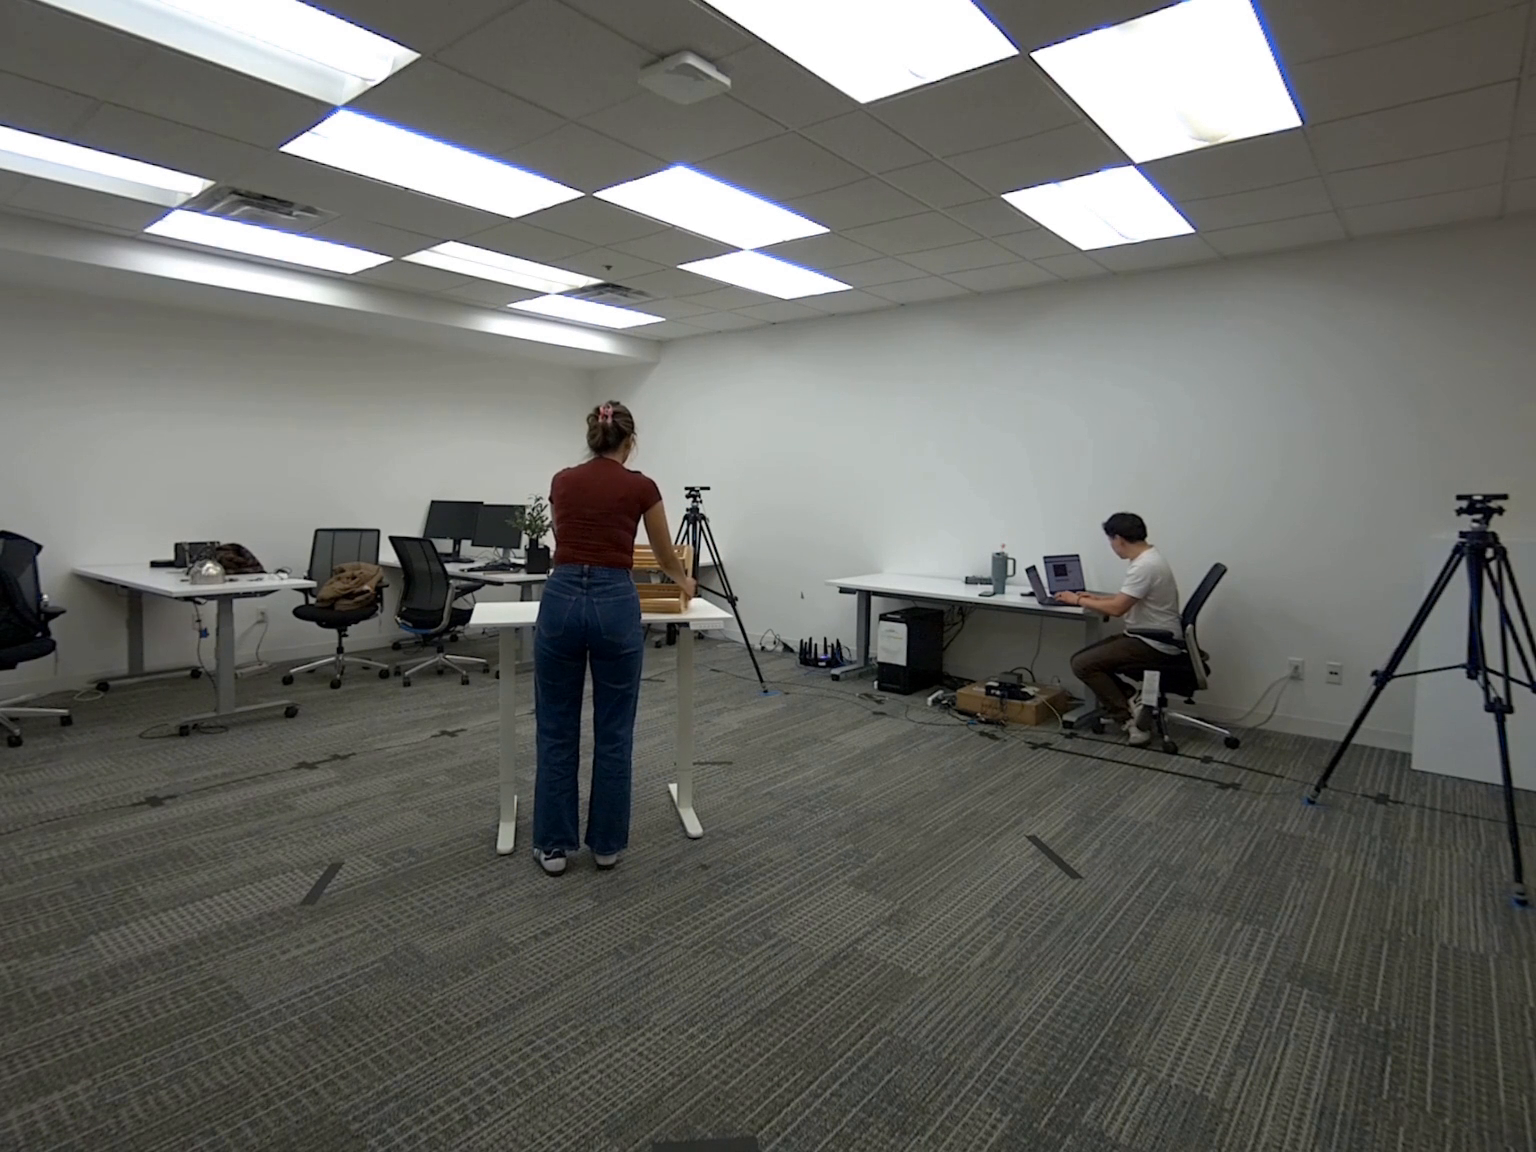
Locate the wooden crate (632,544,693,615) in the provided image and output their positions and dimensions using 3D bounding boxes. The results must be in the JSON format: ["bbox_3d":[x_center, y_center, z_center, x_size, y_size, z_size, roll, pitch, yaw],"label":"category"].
[{"bbox_3d":[-0.507,0.007,3.560,0.326,0.272,0.302,0,5,4],"label":"wooden crate"}]
